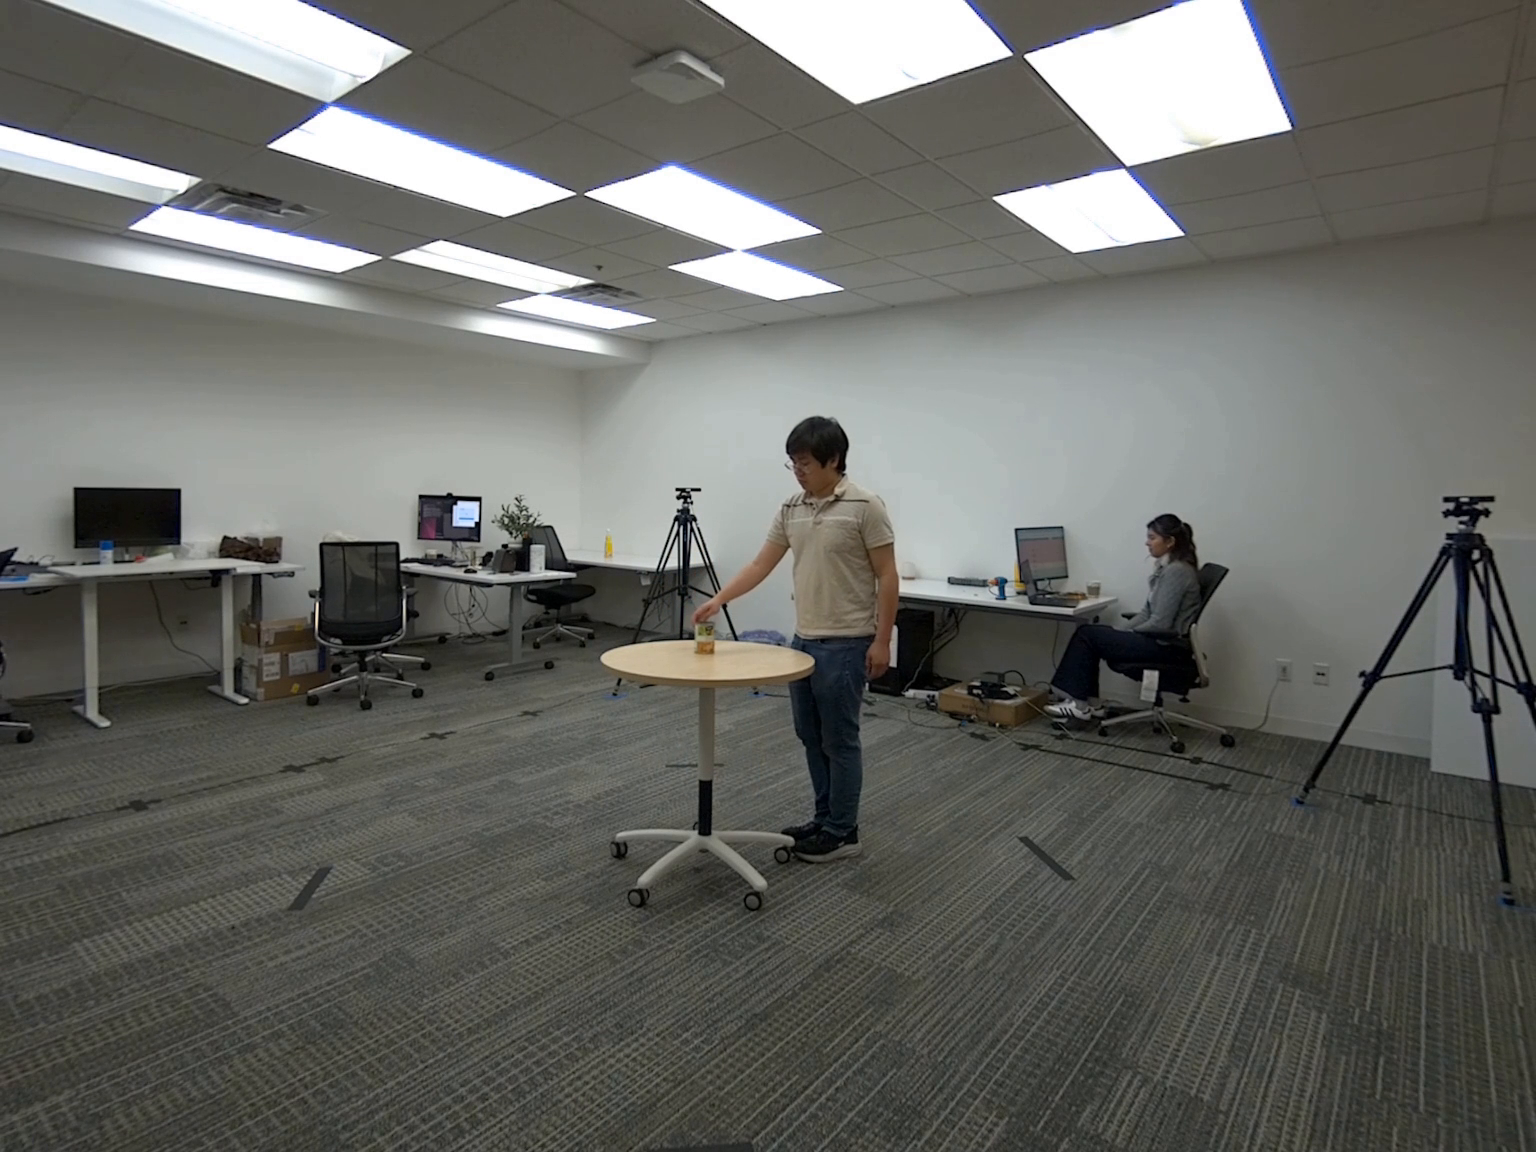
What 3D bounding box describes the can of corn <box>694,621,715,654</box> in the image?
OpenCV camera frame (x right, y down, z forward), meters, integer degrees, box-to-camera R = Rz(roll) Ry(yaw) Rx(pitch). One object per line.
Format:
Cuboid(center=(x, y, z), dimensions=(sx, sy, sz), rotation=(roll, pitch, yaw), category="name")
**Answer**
Cuboid(center=(-0.247, 0.227, 3.158), dimensions=(0.074, 0.111, 0.074), rotation=(4, 3, -2), category="can of corn")
